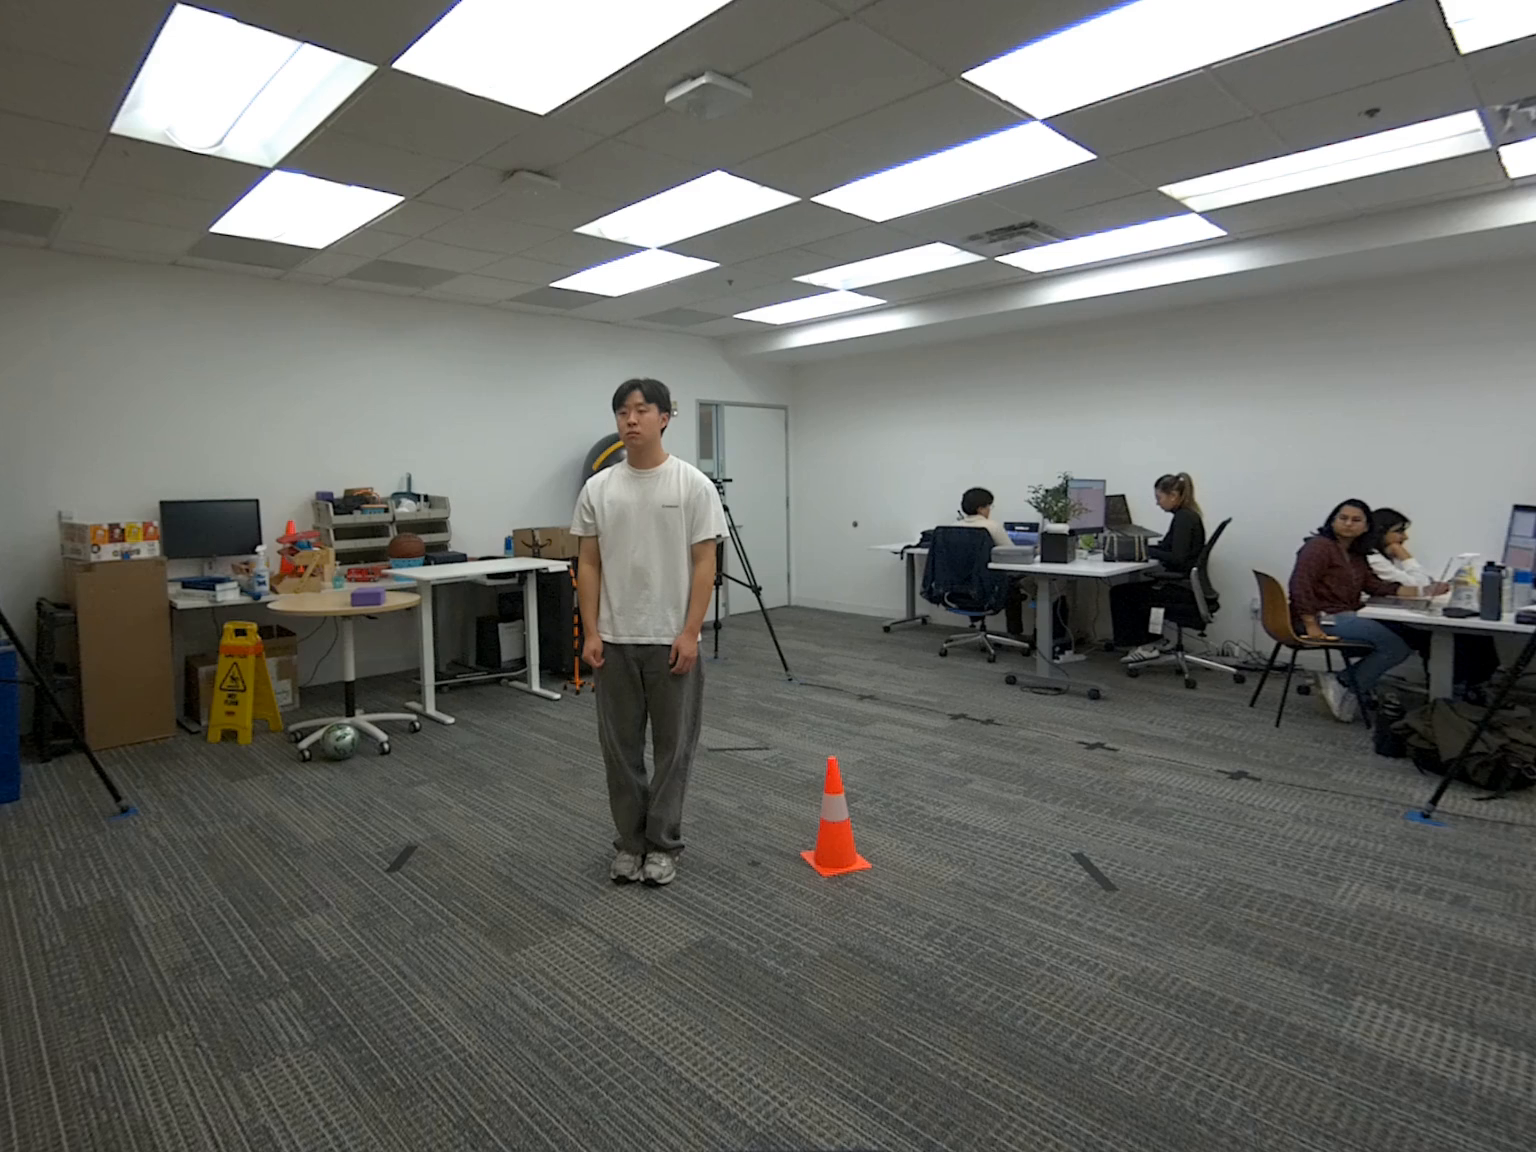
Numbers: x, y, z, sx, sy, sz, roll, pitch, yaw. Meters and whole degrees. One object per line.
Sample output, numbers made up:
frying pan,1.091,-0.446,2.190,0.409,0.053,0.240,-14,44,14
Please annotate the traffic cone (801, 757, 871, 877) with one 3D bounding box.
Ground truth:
traffic cone,0.245,0.859,3.111,0.201,0.382,0.208,-4,5,-20
